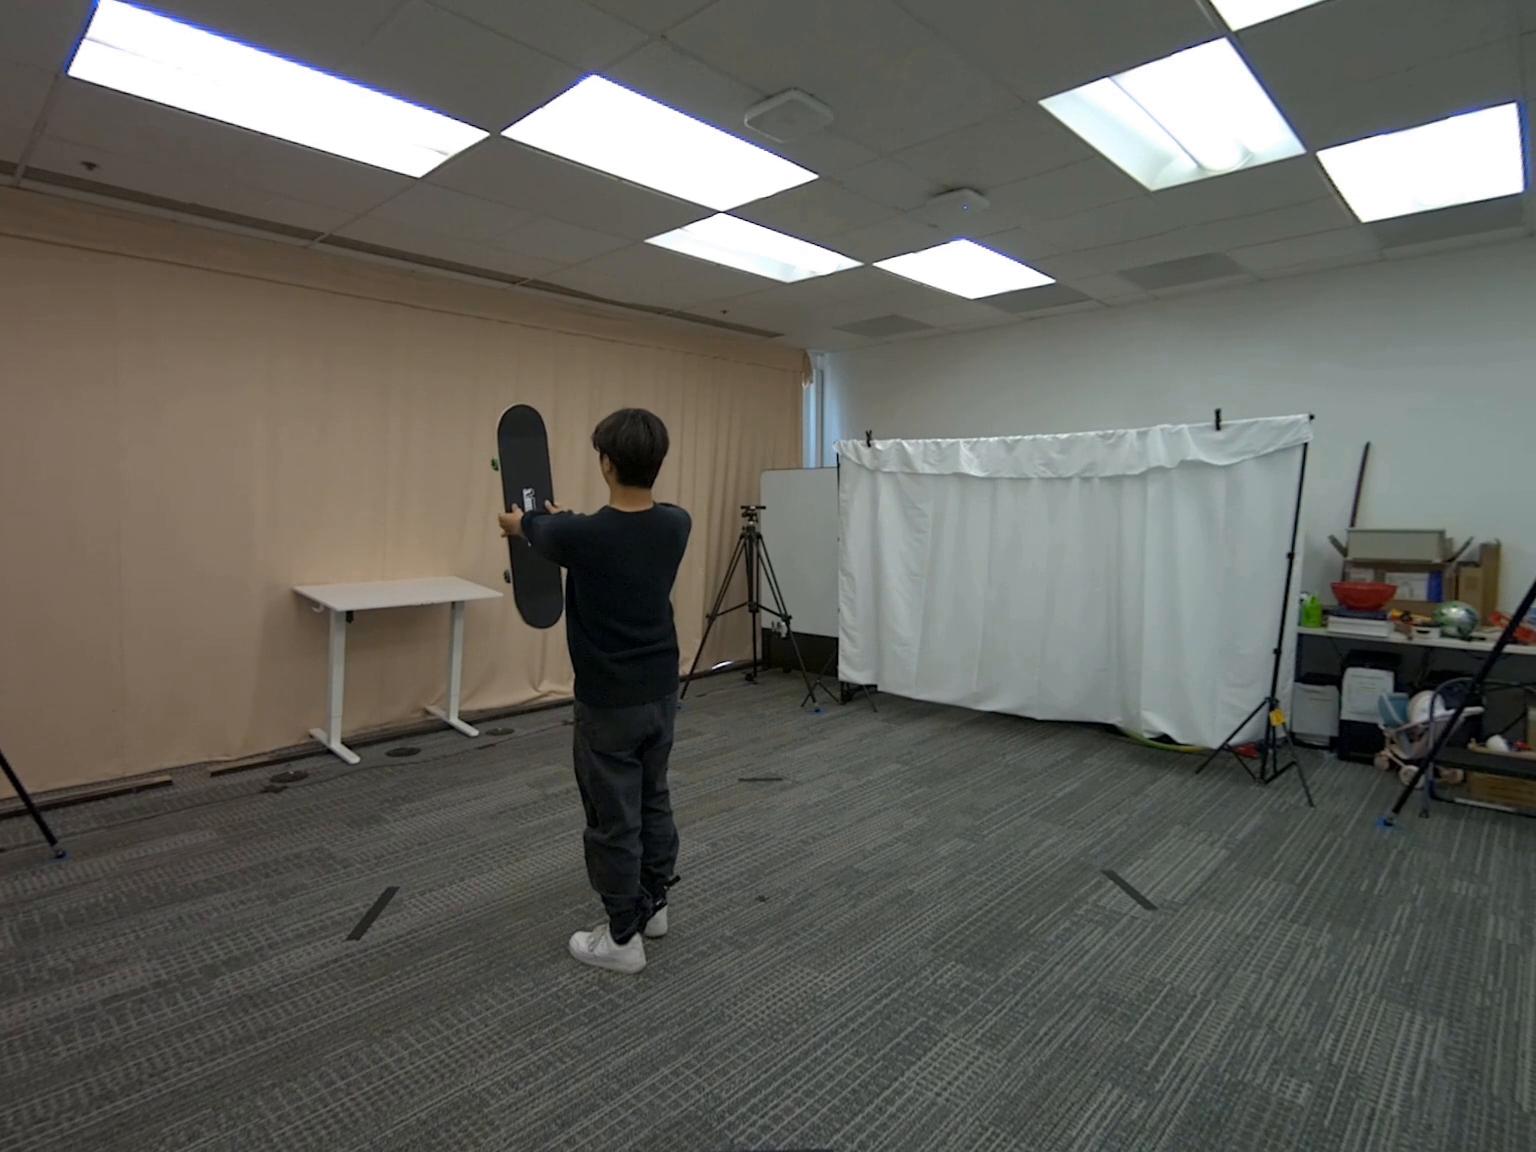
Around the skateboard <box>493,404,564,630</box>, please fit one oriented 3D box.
[{"bbox_3d":[-0.849,-0.205,2.978,0.188,0.784,0.114,-7,4,-39],"label":"skateboard"}]
